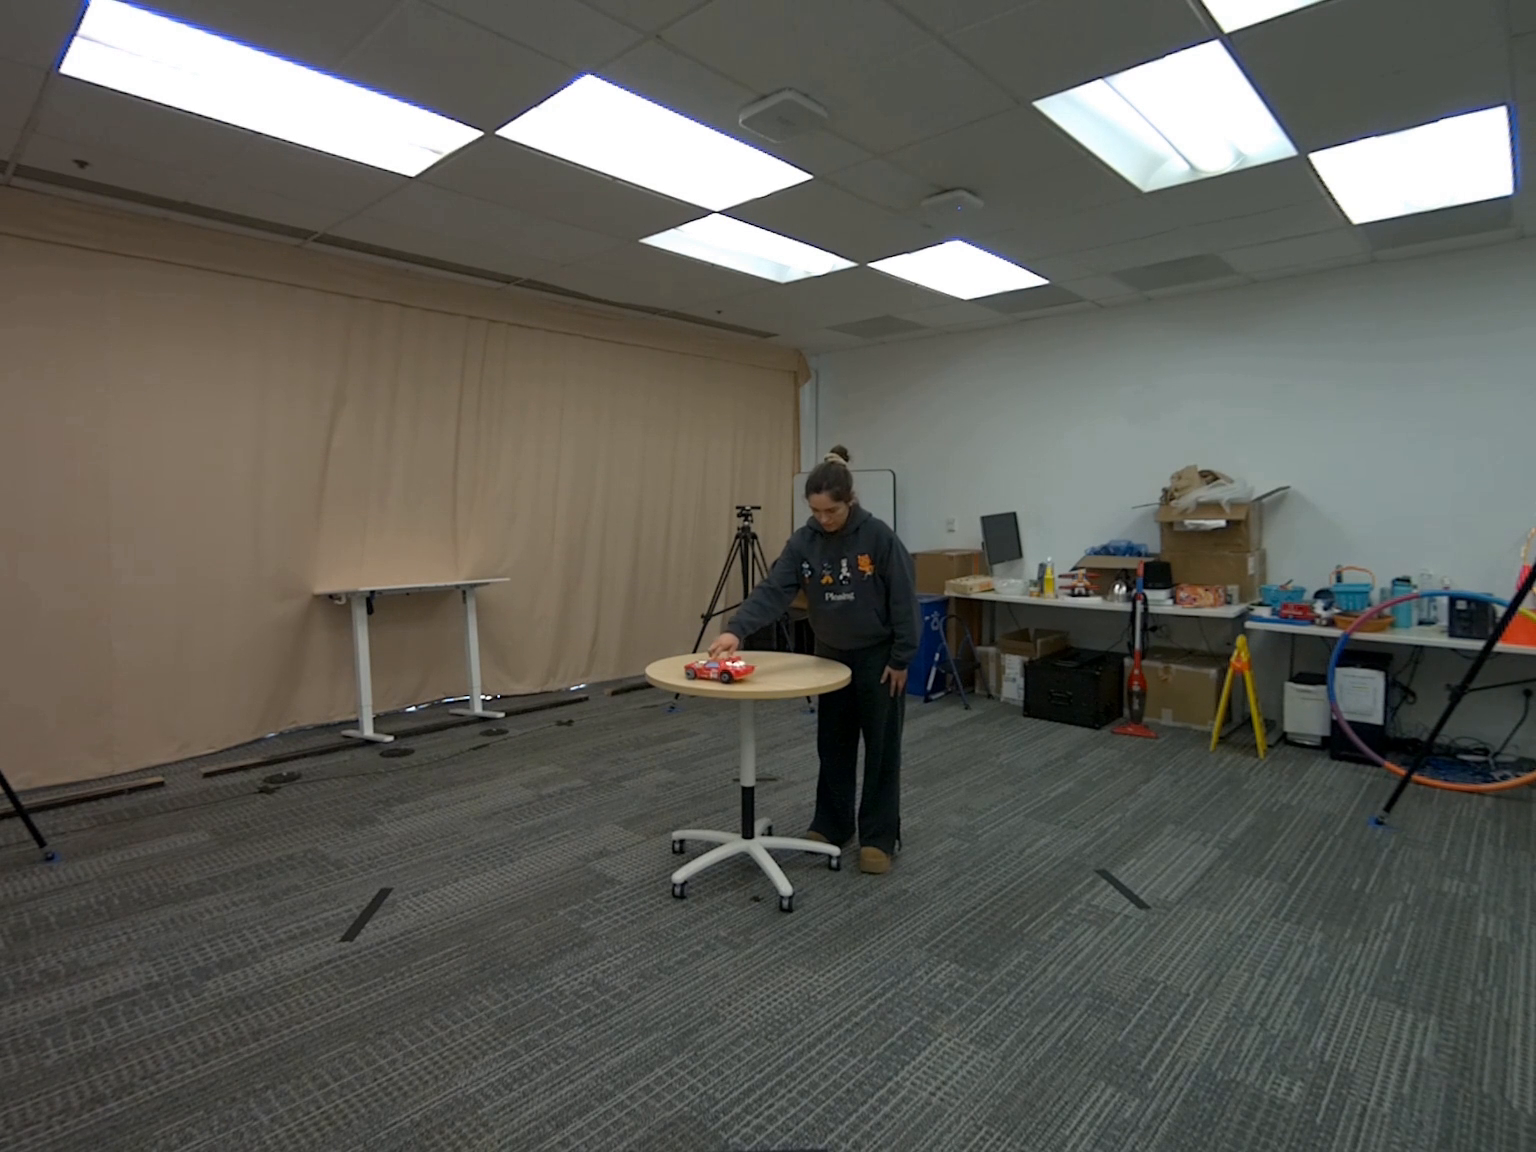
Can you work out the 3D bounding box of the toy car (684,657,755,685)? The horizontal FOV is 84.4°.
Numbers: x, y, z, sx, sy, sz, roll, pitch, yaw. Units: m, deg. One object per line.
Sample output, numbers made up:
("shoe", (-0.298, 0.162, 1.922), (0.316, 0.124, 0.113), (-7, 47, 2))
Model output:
("toy car", (-0.151, 0.333, 2.943), (0.261, 0.083, 0.127), (-11, -2, 29))
